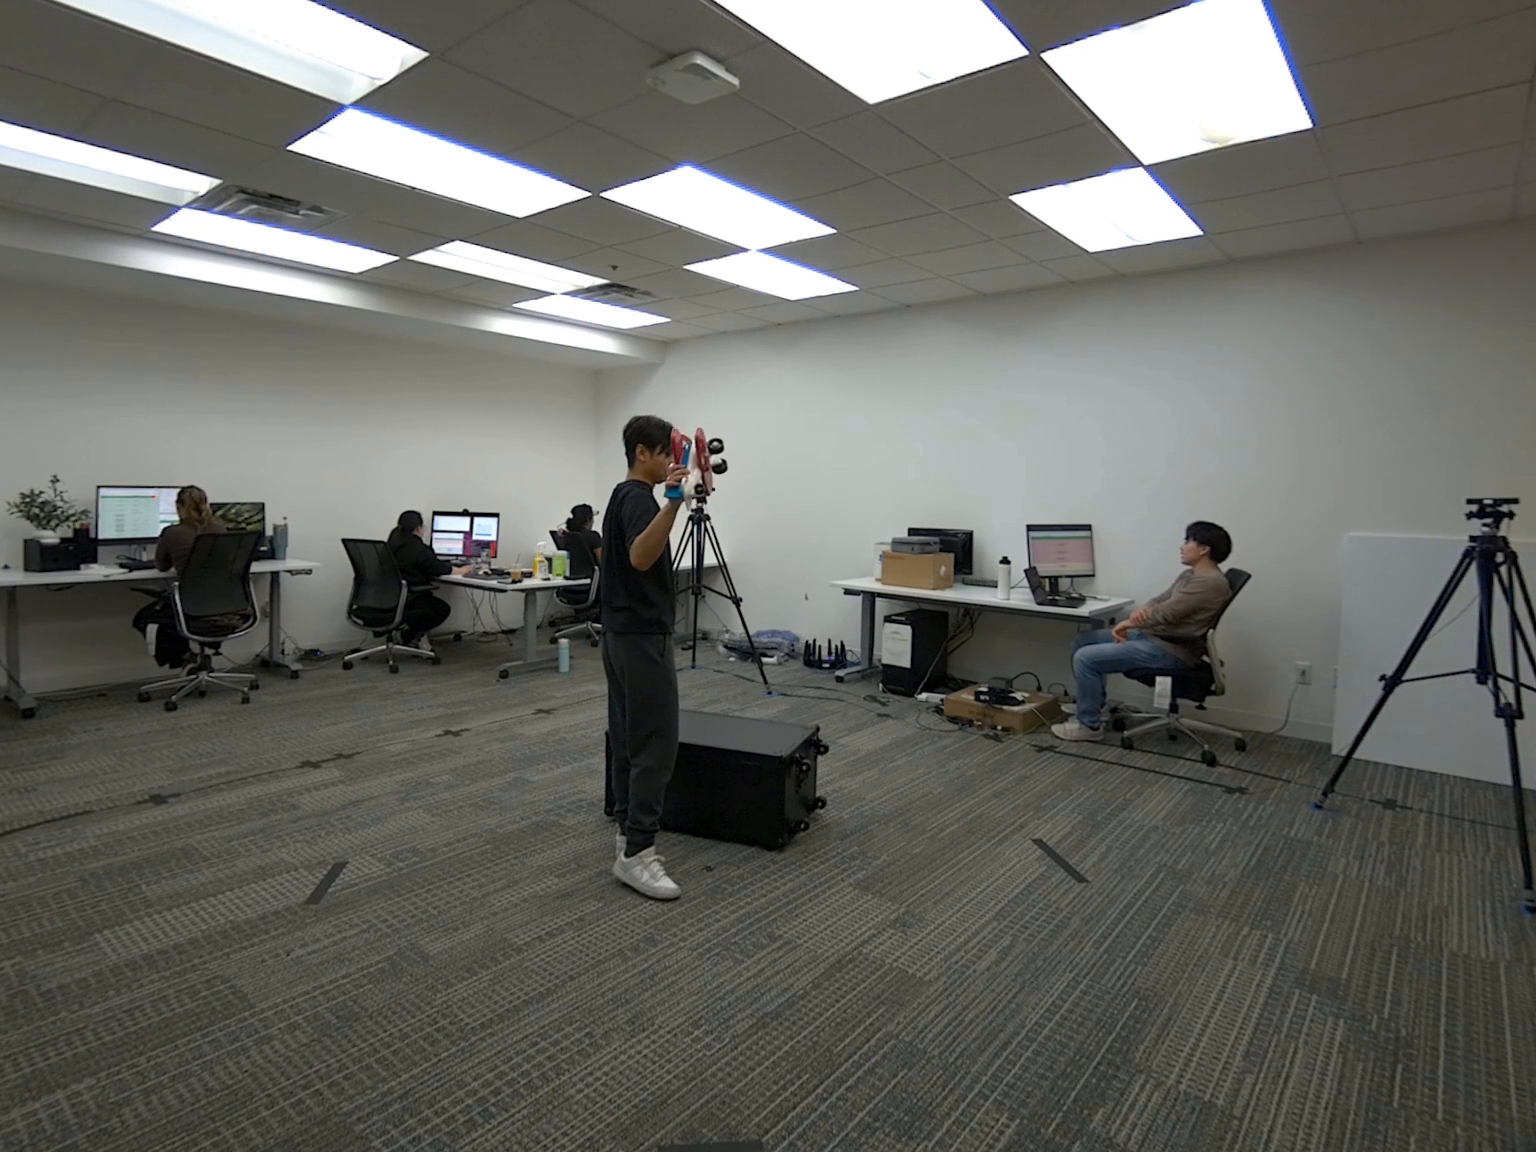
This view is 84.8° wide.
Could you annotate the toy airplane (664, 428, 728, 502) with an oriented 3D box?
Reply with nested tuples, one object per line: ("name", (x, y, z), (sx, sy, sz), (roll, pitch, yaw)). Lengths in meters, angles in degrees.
("toy airplane", (-0.244, -0.352, 2.698), (0.160, 0.247, 0.258), (10, 21, 18))
